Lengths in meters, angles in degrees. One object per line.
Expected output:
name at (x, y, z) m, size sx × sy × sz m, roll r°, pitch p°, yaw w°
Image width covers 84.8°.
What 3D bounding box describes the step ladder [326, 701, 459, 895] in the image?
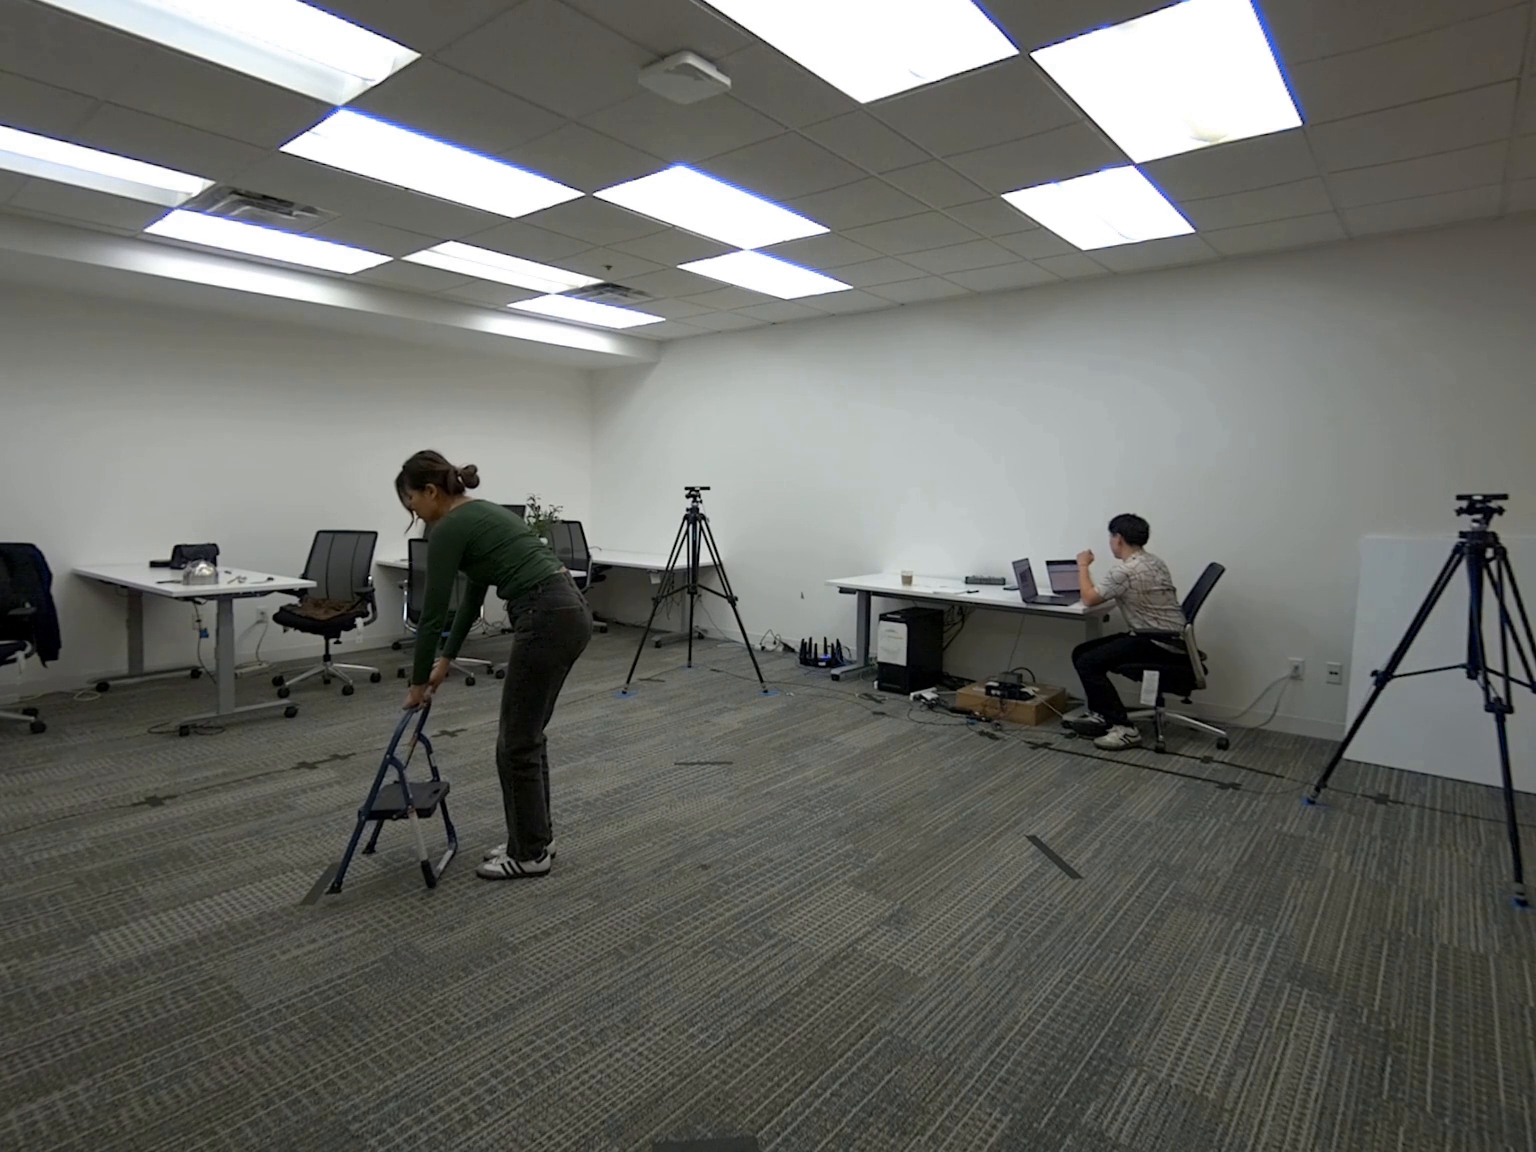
step ladder at (-1.333, 0.737, 3.035) m, size 0.346 × 0.606 × 0.435 m, roll 1°, pitch 0°, yaw -10°
